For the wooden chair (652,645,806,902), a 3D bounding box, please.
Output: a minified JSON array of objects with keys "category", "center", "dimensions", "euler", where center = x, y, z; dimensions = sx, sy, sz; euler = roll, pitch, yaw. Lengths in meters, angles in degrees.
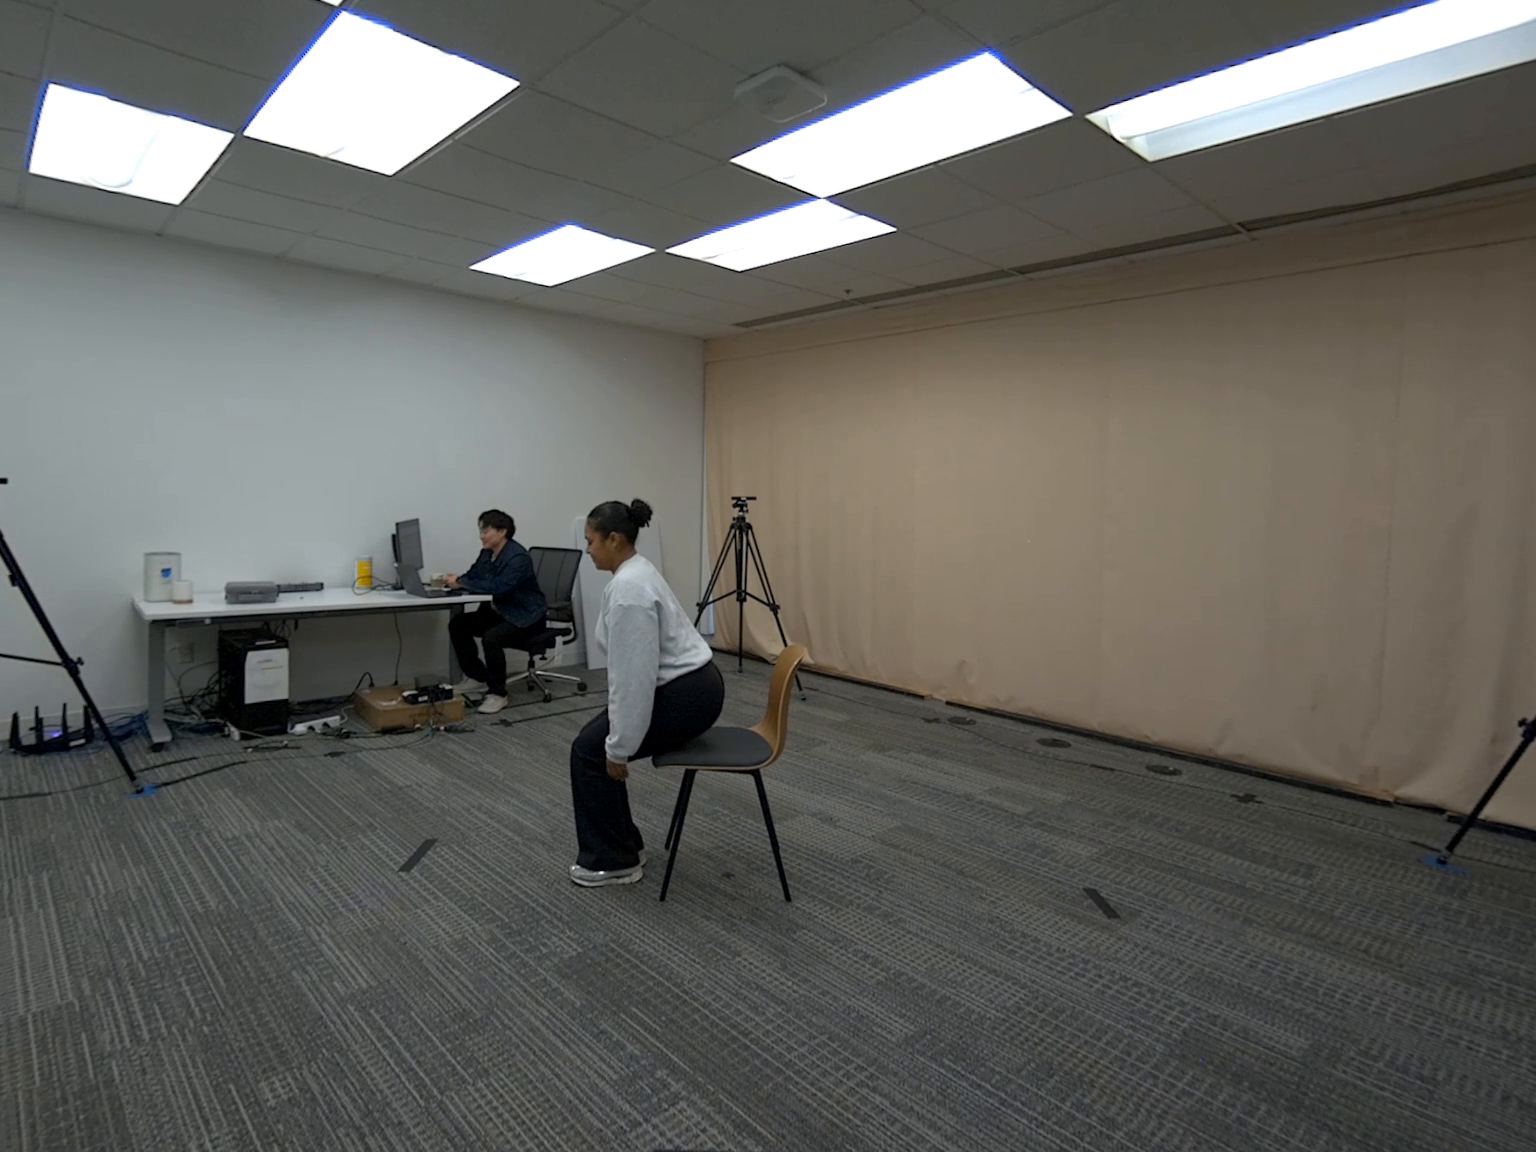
[{"category":"wooden chair","center":[-0.167,0.677,3.090],"dimensions":[0.521,0.875,0.481],"euler":[5,3,-4]}]
